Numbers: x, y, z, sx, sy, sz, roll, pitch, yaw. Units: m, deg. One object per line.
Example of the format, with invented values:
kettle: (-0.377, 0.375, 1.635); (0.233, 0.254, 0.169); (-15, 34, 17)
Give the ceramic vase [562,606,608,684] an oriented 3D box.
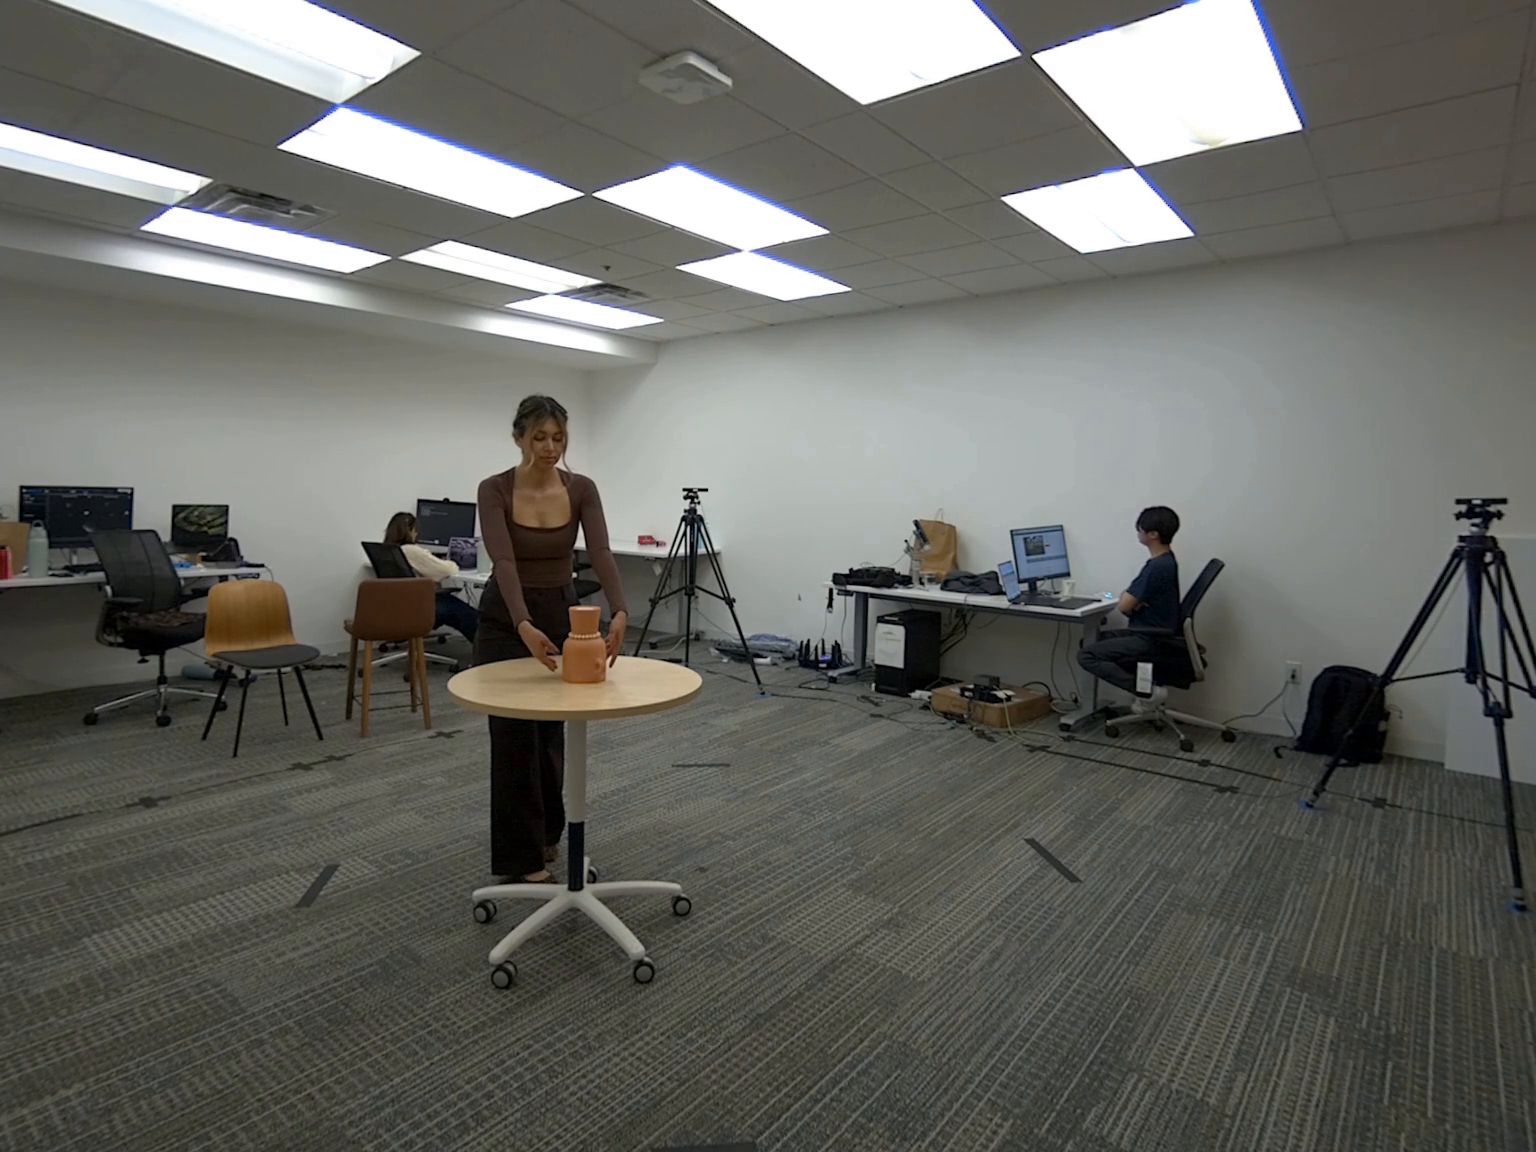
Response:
ceramic vase: (-0.573, 0.206, 2.608); (0.160, 0.219, 0.134); (1, 5, 6)
